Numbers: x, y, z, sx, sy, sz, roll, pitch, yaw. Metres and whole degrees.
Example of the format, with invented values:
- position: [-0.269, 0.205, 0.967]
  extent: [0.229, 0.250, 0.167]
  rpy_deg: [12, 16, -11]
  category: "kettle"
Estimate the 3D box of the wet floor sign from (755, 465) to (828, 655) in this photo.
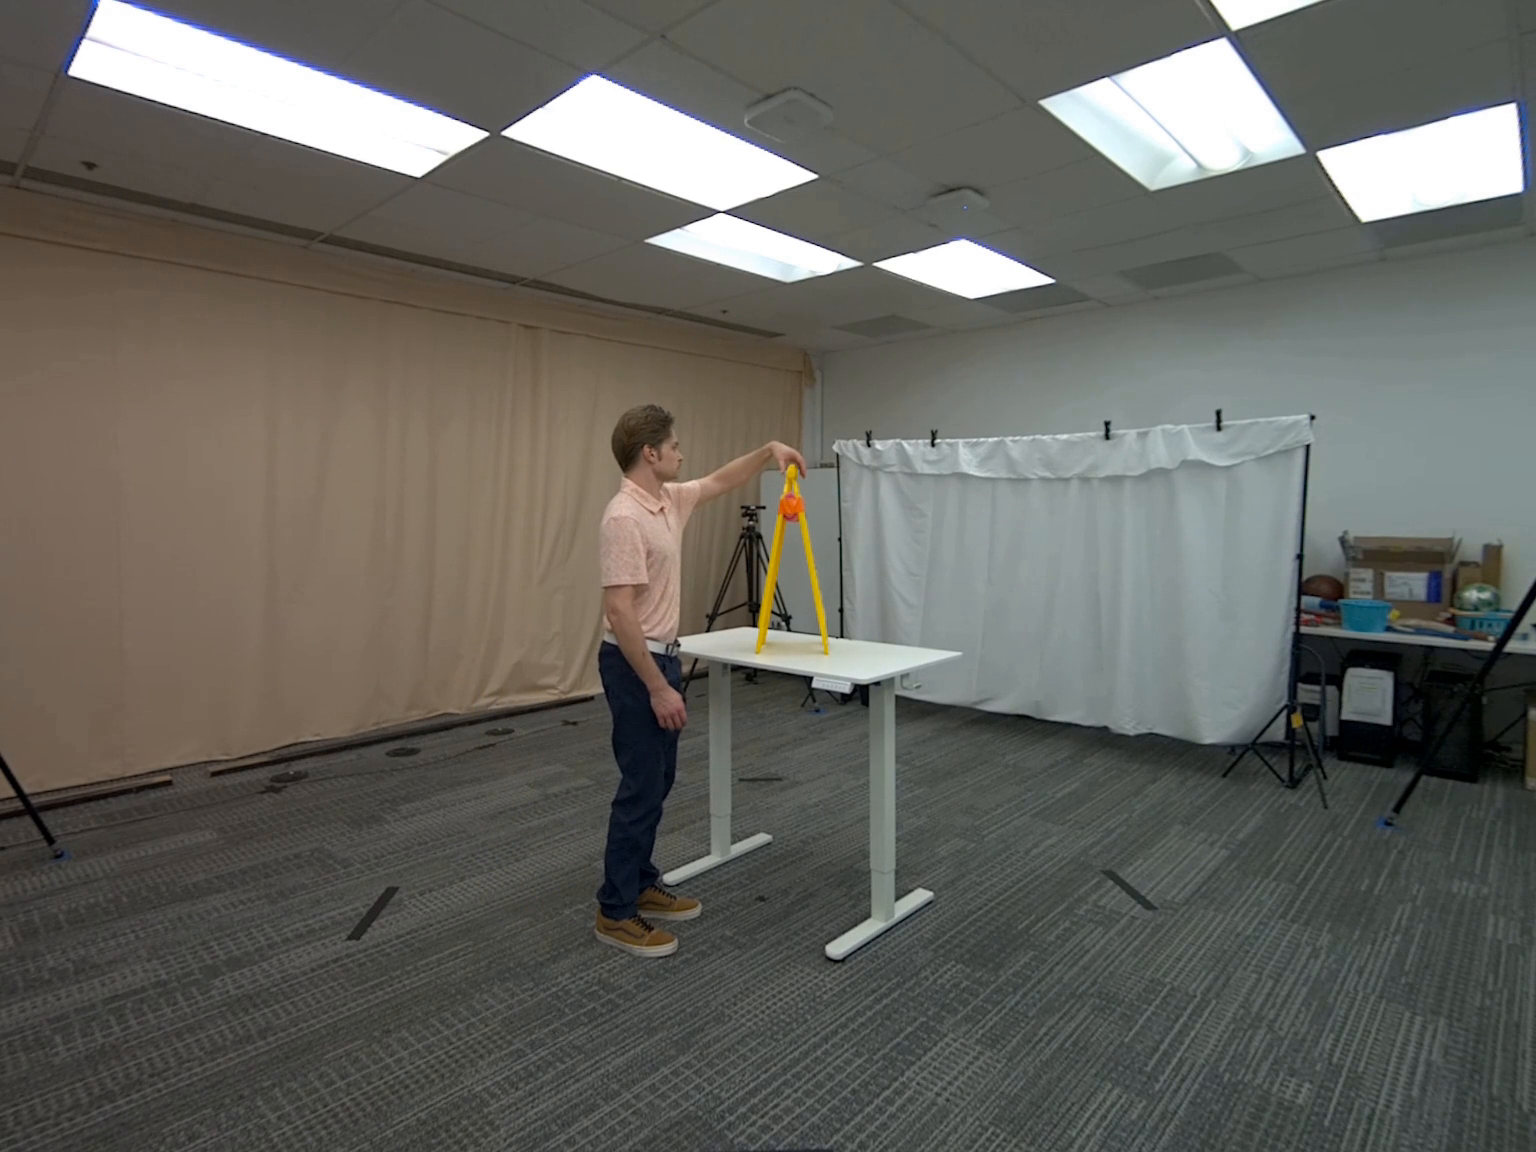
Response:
- position: [0.090, -0.065, 3.001]
  extent: [0.291, 0.645, 0.281]
  rpy_deg: [0, 2, 3]
  category: "wet floor sign"
